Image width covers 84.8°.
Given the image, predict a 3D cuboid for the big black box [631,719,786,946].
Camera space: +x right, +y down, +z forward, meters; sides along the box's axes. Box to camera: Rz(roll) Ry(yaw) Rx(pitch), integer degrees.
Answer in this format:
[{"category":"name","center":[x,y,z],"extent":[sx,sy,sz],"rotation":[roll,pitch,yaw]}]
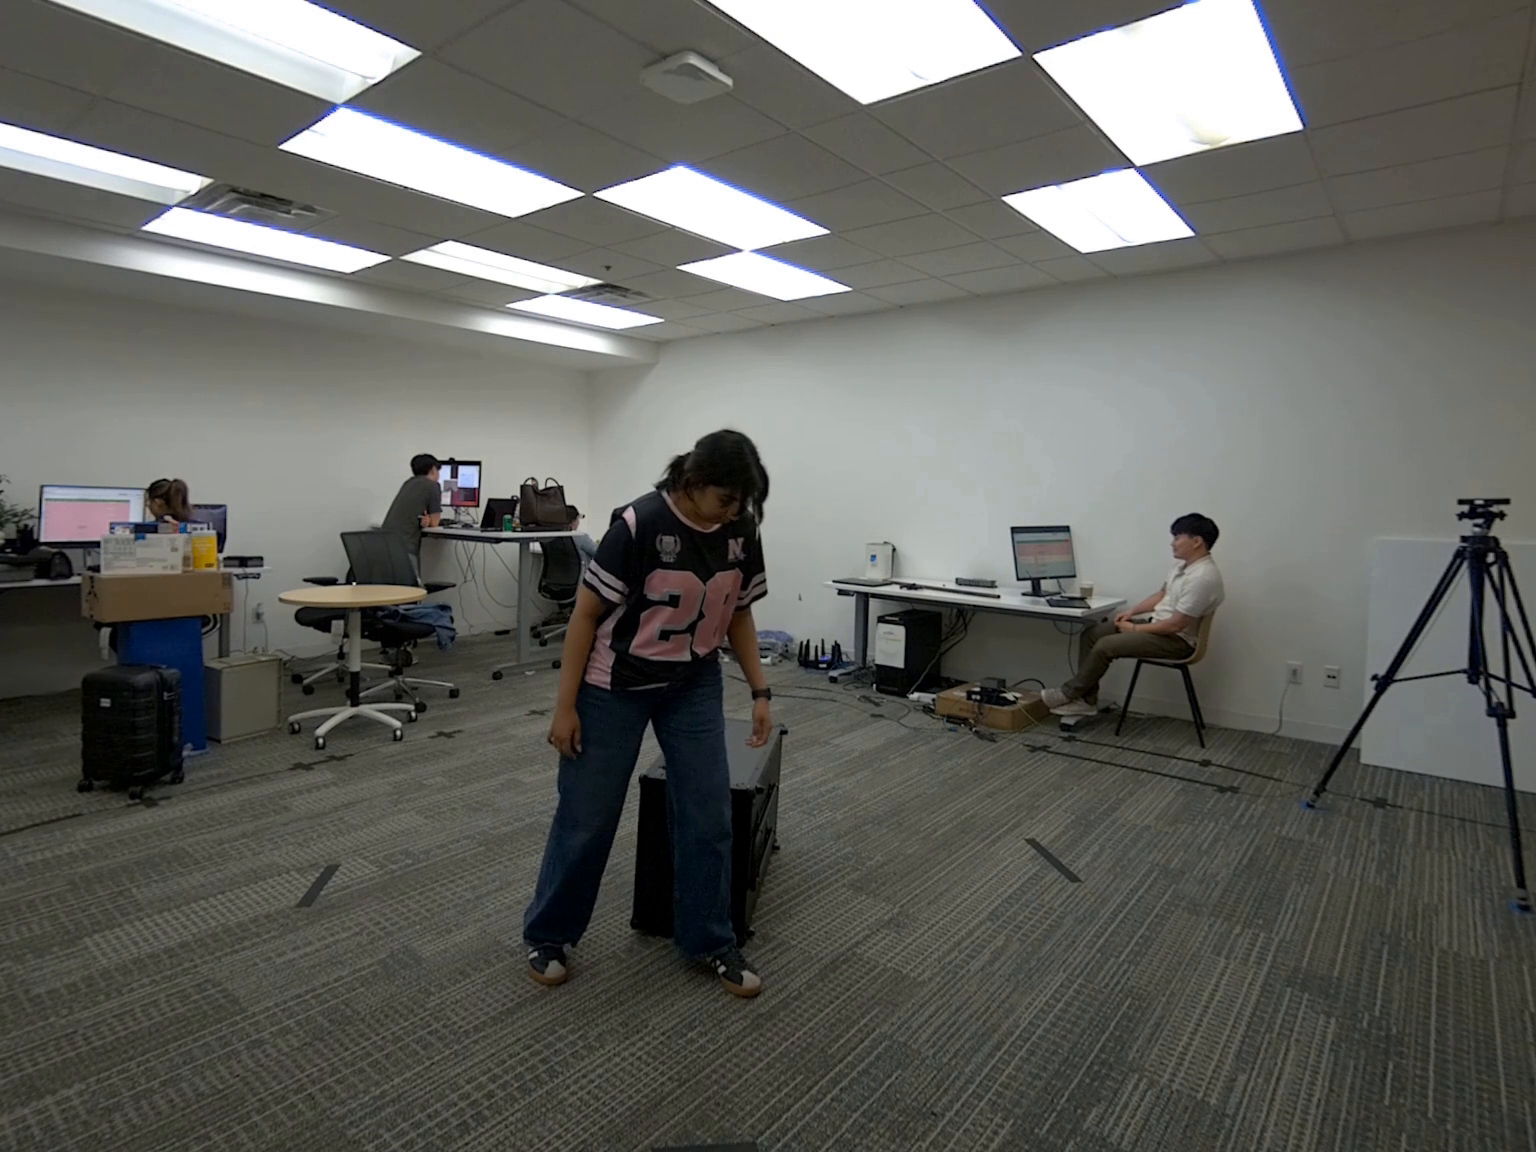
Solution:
[{"category":"big black box","center":[-0.180,0.821,3.006],"extent":[0.389,0.521,0.862],"rotation":[2,5,8]}]
